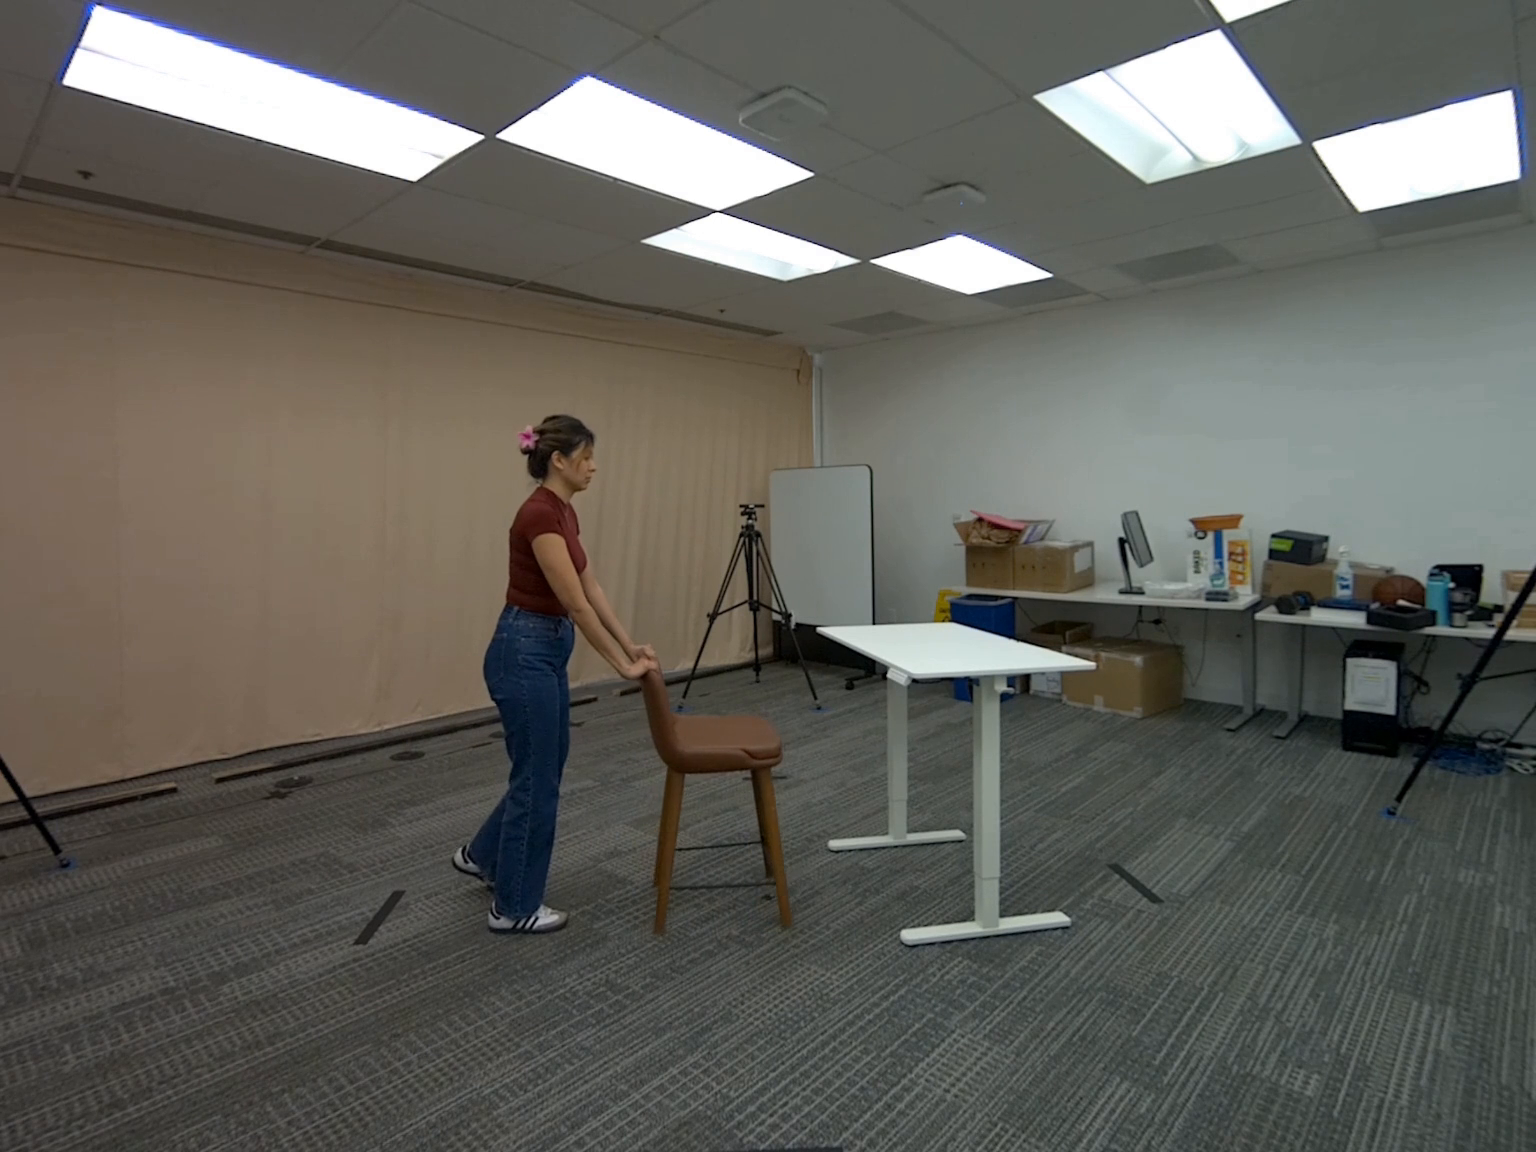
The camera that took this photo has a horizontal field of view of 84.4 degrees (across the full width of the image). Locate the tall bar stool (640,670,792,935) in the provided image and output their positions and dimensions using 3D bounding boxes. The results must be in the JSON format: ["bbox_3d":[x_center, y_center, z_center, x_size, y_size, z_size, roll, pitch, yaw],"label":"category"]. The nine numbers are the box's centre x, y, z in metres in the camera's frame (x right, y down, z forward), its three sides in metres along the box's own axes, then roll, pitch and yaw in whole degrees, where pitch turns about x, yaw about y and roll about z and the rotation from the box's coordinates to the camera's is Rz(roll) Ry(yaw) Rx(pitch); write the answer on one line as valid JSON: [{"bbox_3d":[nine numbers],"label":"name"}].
[{"bbox_3d":[-0.189,0.712,2.919,0.465,0.888,0.460,-4,3,-6],"label":"tall bar stool"}]
